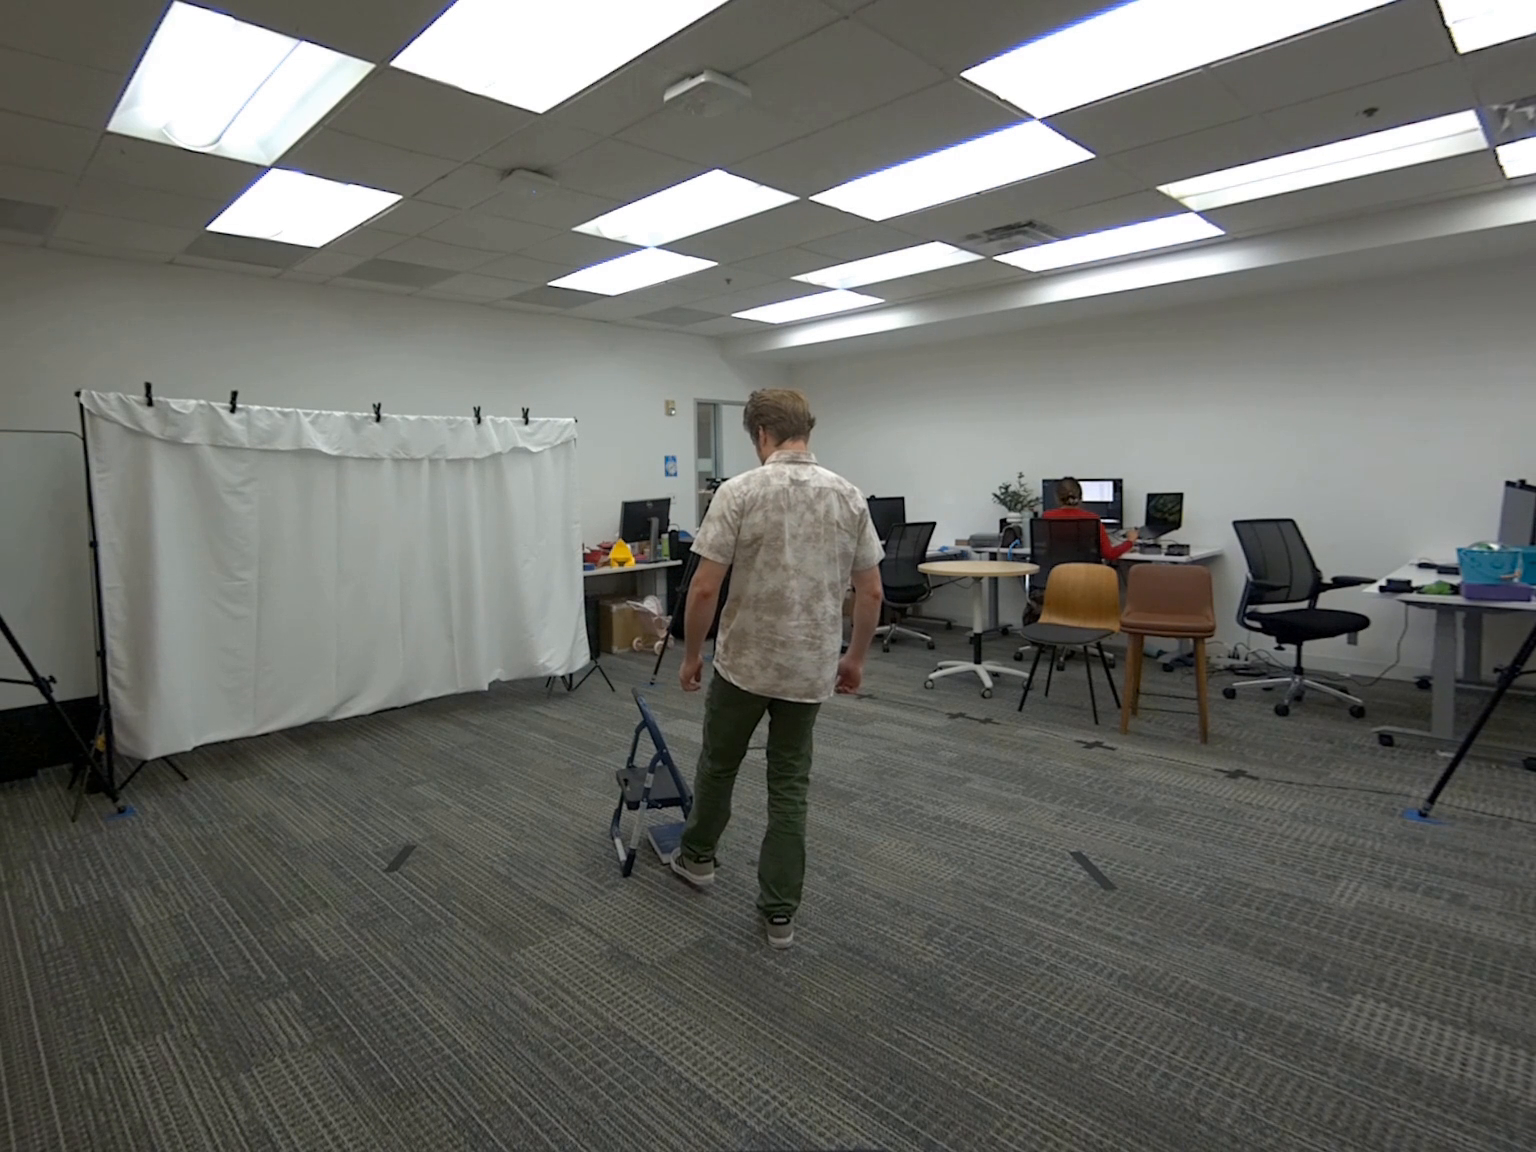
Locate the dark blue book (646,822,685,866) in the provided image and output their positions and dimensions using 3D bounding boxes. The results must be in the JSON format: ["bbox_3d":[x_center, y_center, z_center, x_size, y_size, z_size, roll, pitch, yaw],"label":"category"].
[{"bbox_3d":[-0.357,1.012,3.242,0.160,0.045,0.251,-2,8,-20],"label":"dark blue book"}]
